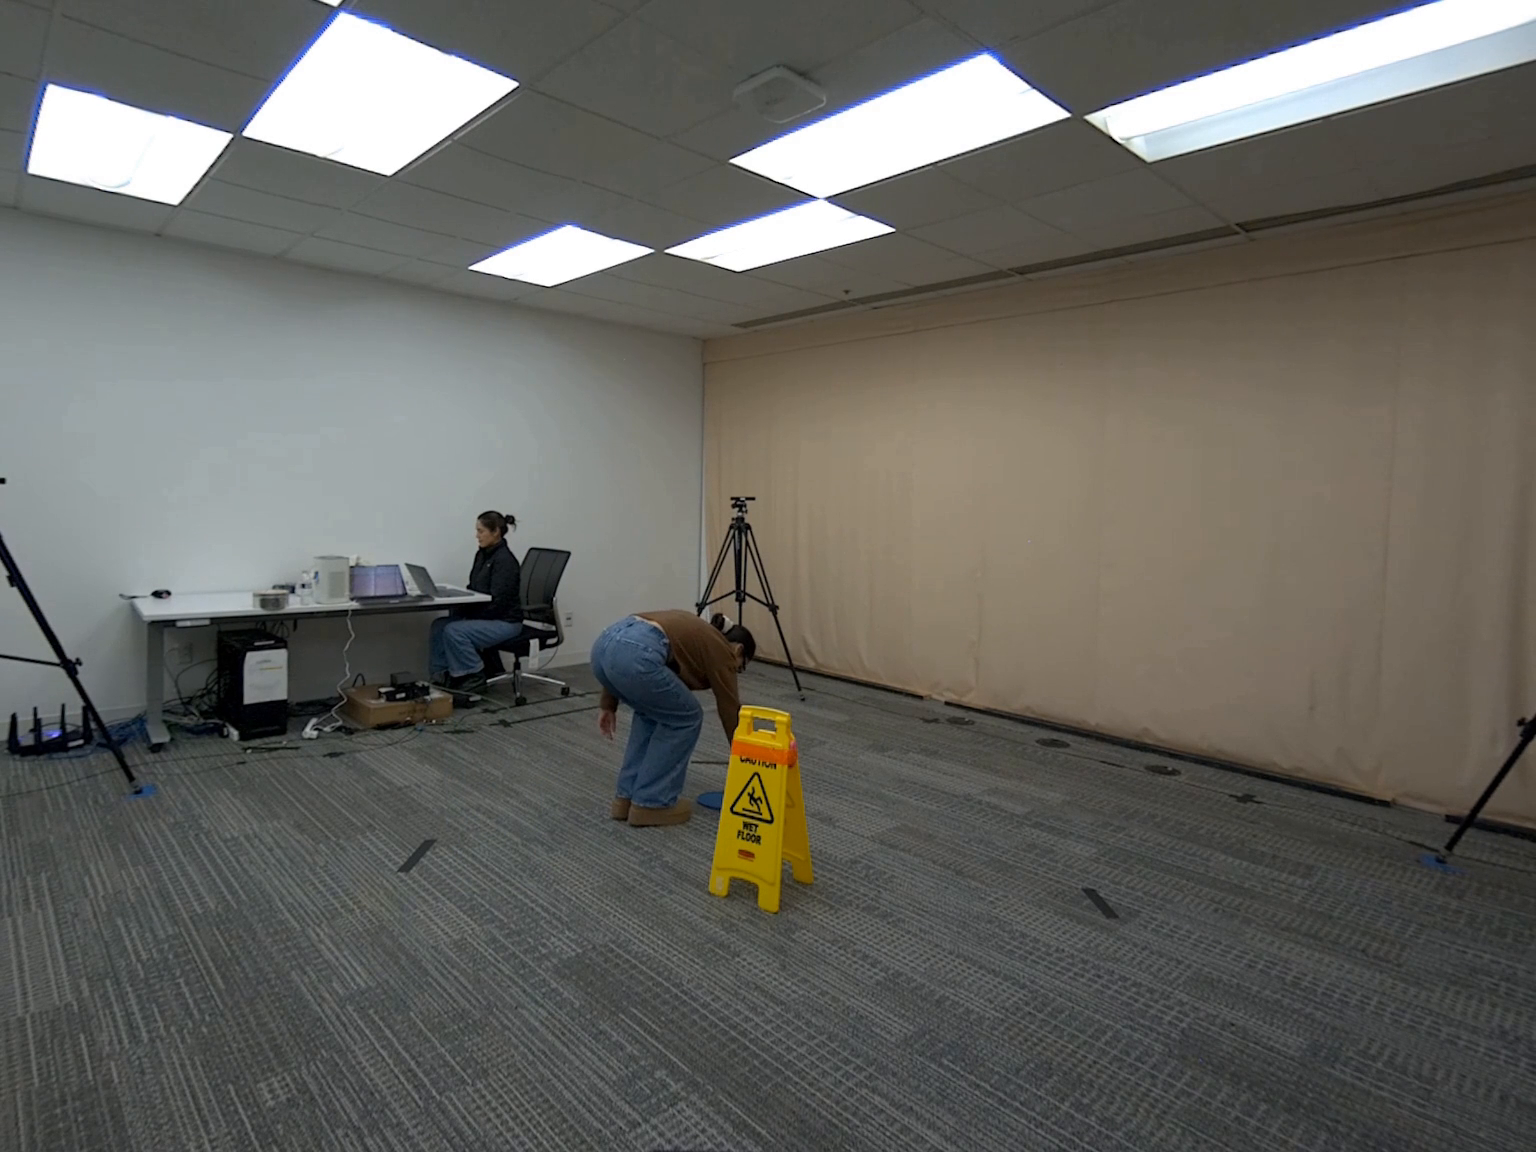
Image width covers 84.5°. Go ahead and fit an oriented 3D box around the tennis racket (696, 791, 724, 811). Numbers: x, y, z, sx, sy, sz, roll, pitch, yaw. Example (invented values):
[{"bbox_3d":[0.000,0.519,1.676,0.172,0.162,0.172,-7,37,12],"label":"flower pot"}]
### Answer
[{"bbox_3d":[-0.146,1.029,3.816,0.442,0.032,0.209,4,4,31],"label":"tennis racket"}]
